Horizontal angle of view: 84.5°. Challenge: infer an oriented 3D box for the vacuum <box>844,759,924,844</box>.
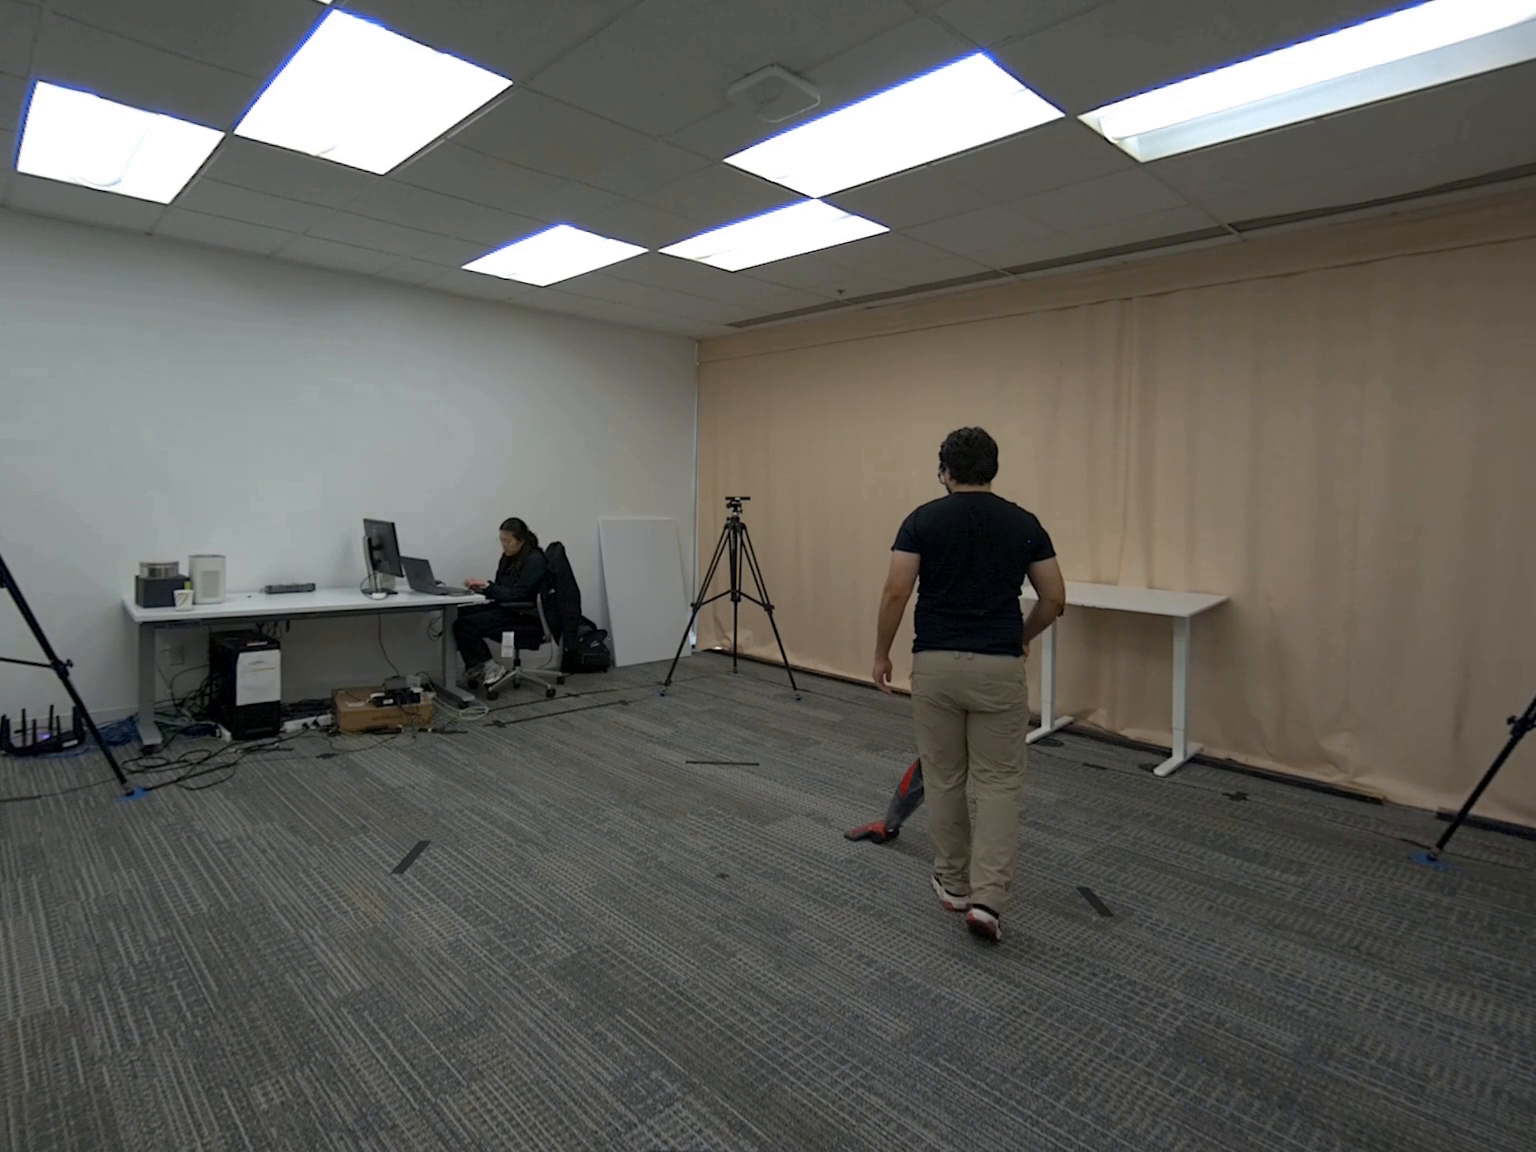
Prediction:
[{"bbox_3d":[0.663,0.682,3.267,0.247,1.042,0.148,-2,40,-43],"label":"vacuum"}]
